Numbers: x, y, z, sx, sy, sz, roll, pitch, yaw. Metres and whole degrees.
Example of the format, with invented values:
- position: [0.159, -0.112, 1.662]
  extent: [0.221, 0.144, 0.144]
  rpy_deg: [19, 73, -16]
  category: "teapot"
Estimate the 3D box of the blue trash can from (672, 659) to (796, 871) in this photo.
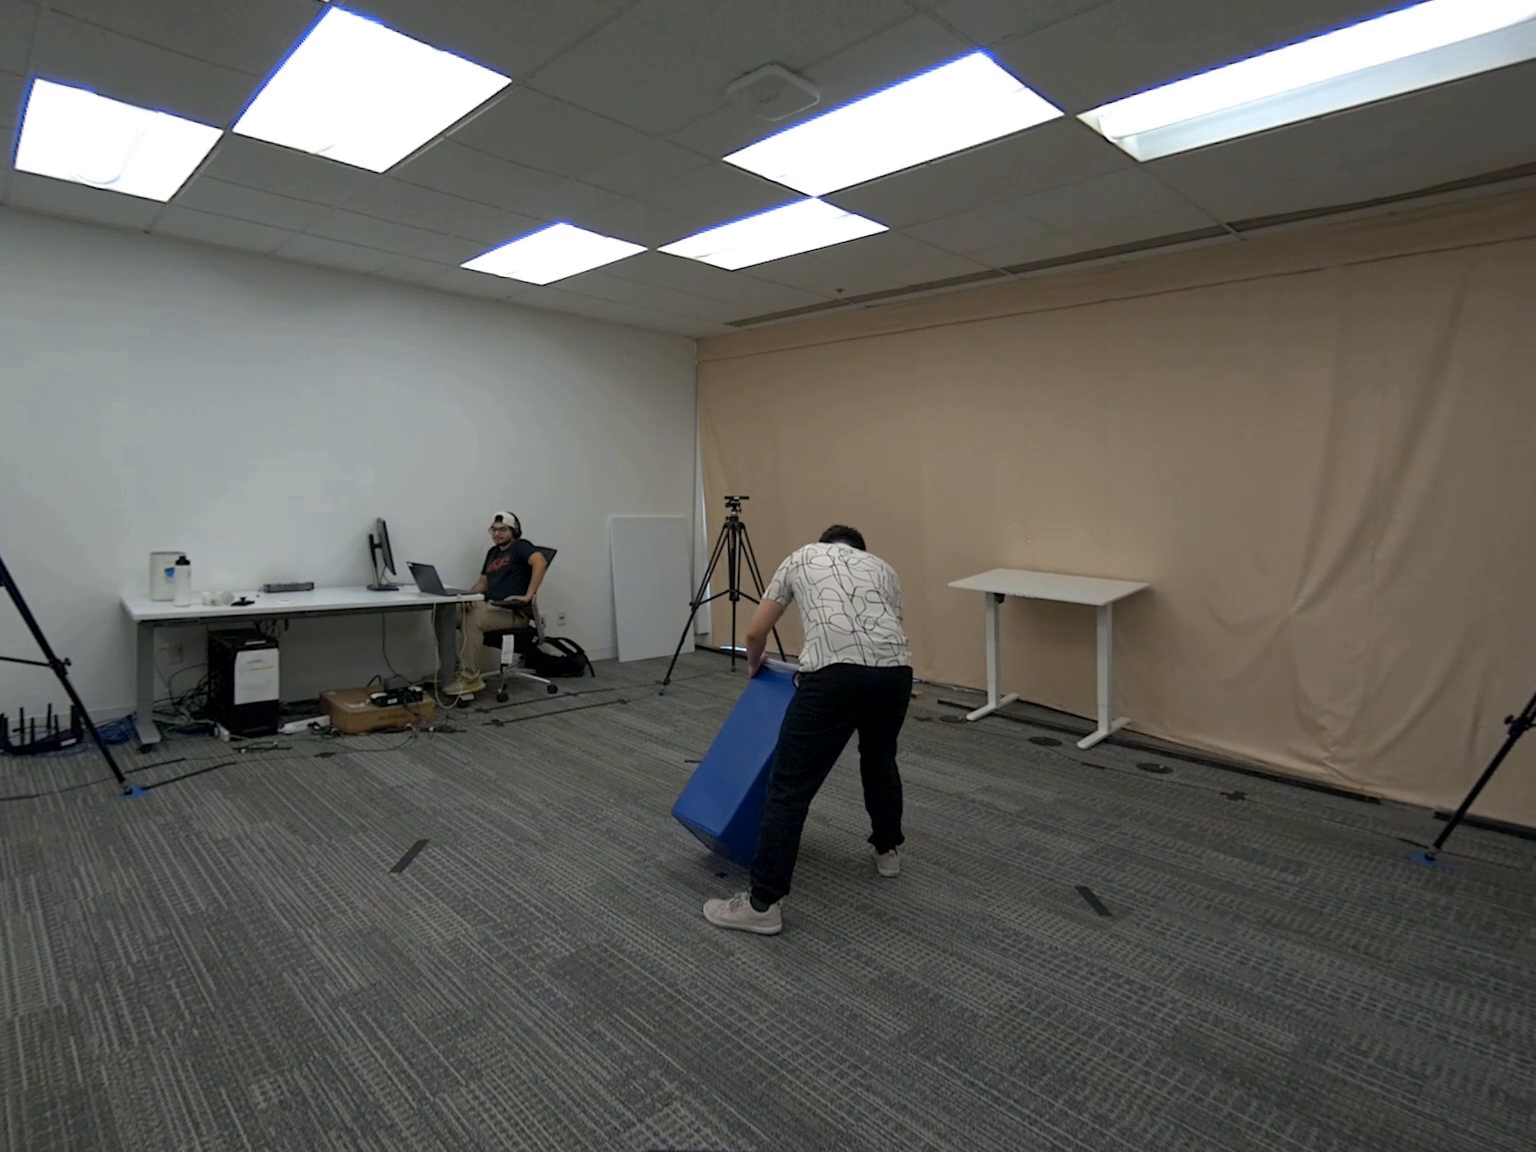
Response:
- position: [-0.026, 0.731, 3.262]
  extent: [0.384, 0.715, 0.367]
  rpy_deg: [7, -36, 48]
  category: "blue trash can"
